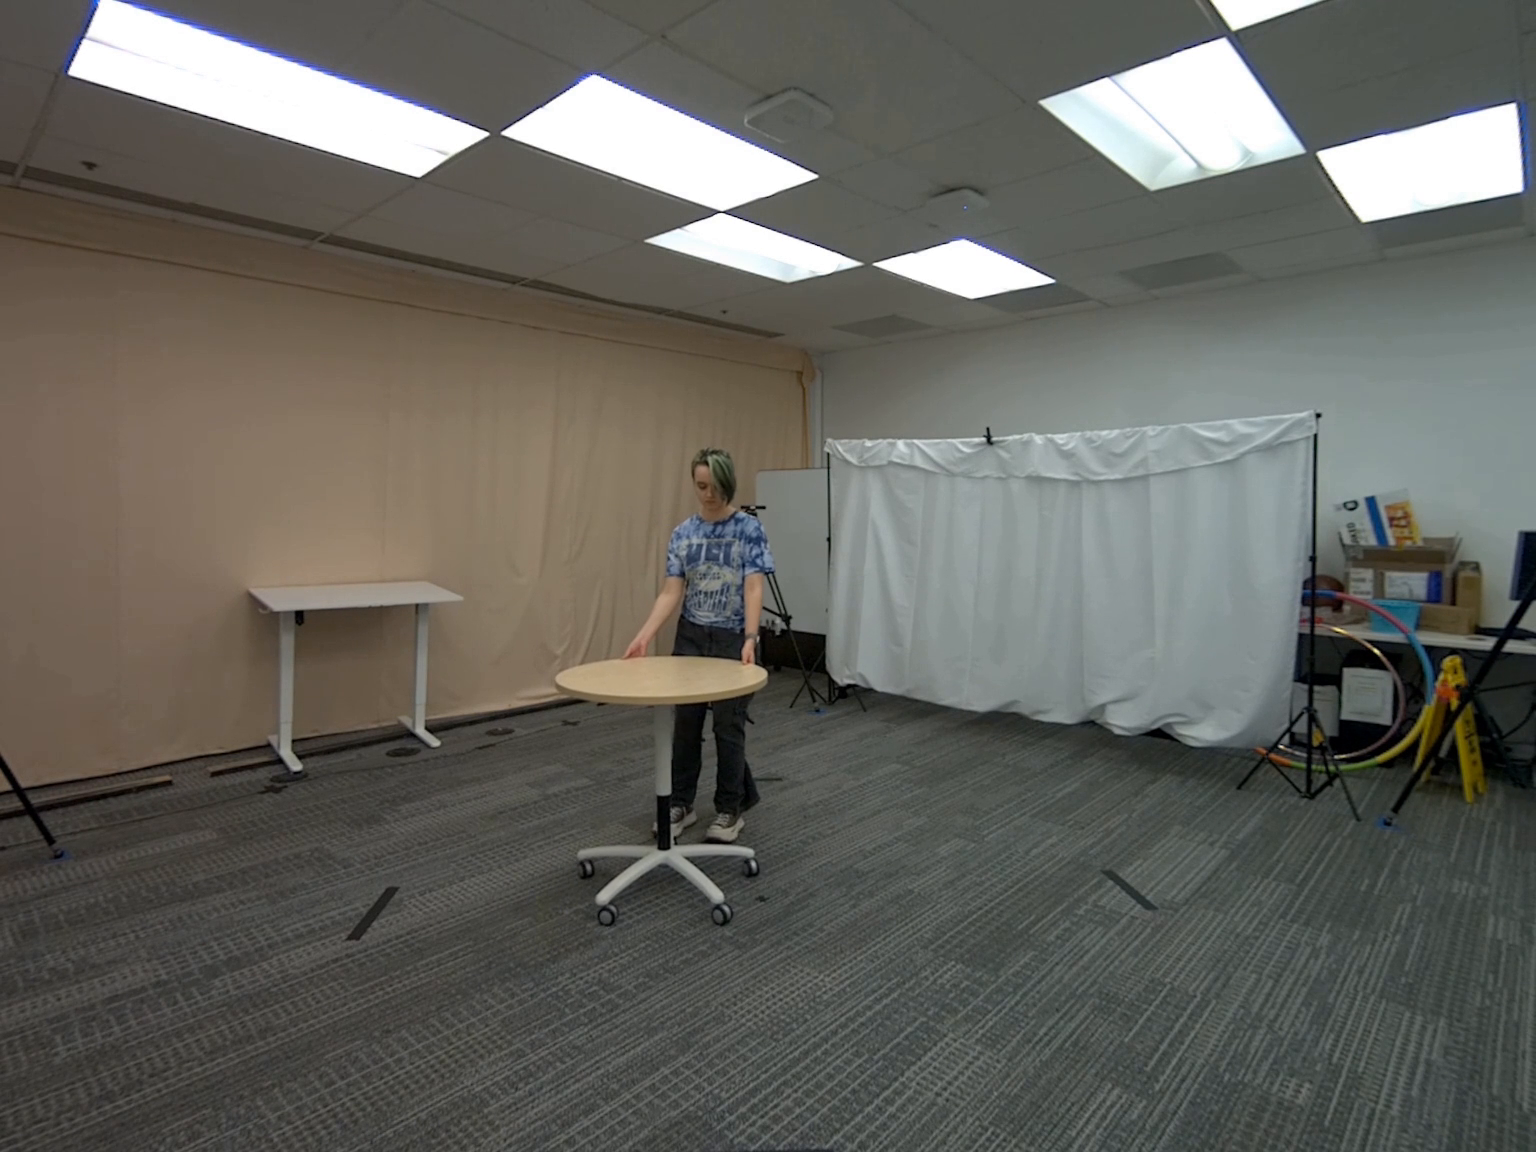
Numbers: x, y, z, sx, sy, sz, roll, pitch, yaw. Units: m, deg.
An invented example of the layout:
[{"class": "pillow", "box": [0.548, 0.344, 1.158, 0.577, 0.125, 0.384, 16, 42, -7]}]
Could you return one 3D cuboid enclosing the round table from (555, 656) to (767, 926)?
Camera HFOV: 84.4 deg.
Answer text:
[{"class": "round table", "box": [-0.373, 0.748, 3.067, 0.763, 0.792, 0.766, -1, 3, -2]}]
